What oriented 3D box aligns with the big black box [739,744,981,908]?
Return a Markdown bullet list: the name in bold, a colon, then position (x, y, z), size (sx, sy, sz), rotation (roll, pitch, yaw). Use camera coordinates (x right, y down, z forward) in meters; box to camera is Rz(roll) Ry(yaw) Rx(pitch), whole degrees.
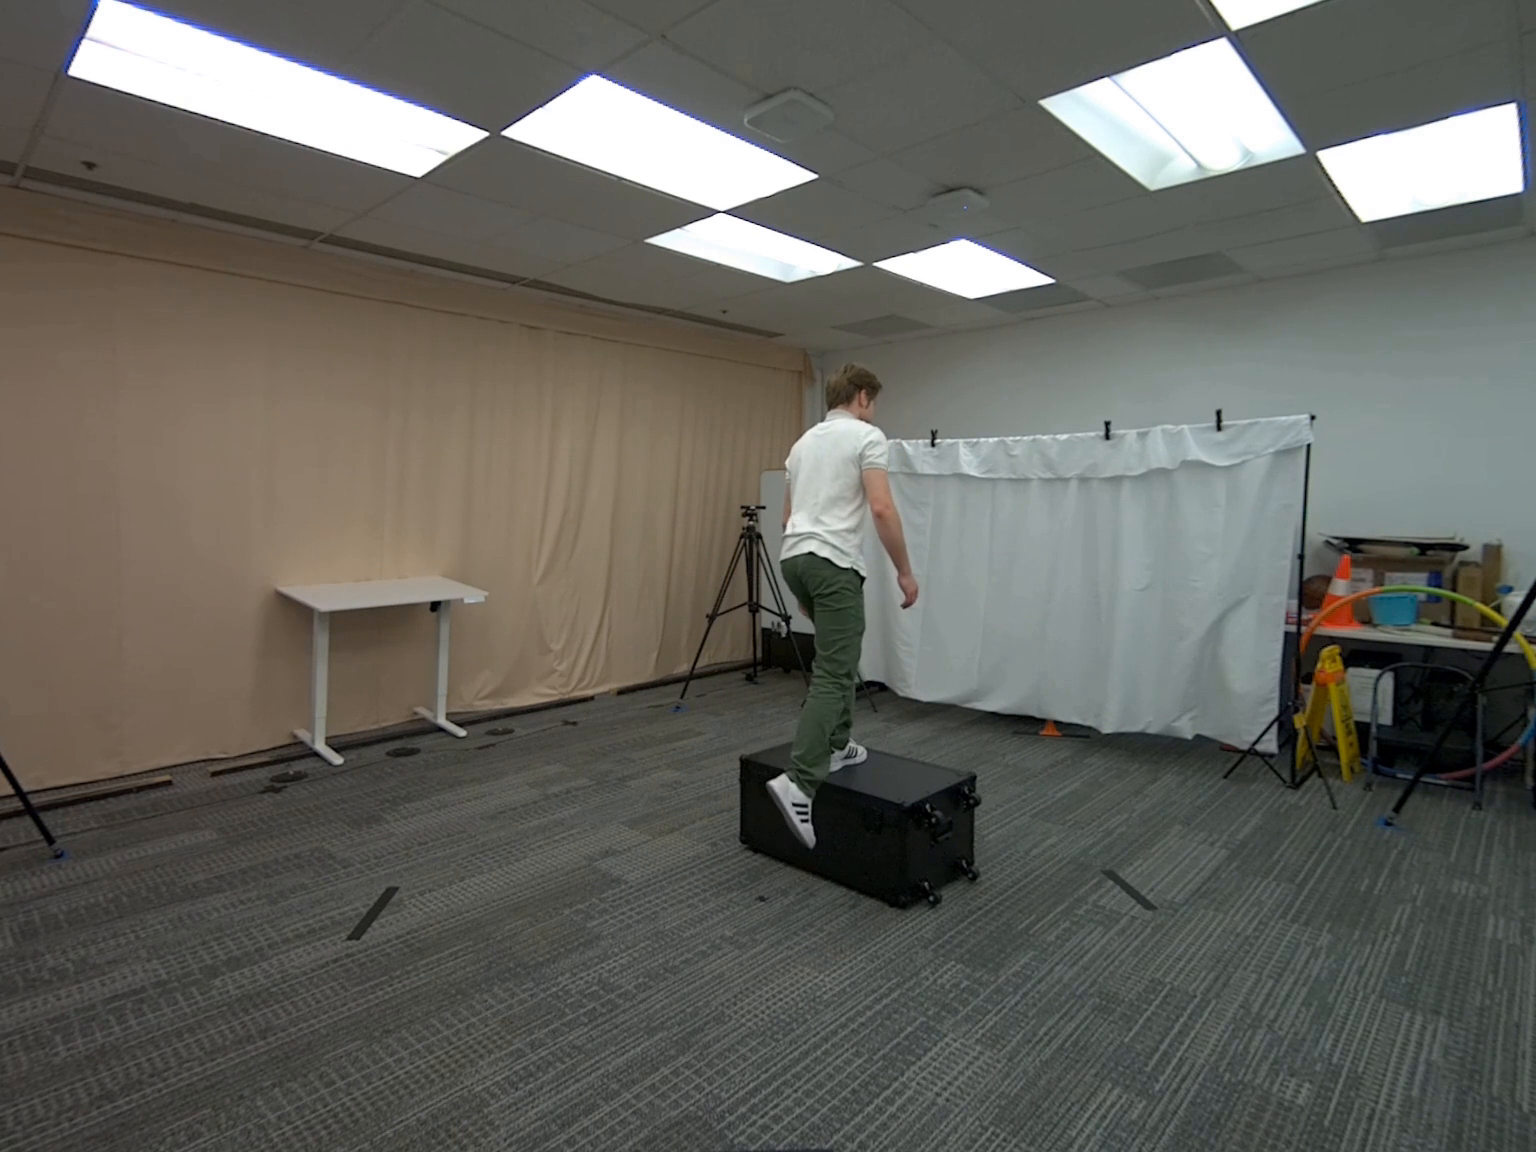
- **big black box**: position (0.362, 0.927, 3.276), size (0.898, 0.384, 0.507), rotation (5, 5, 43)
